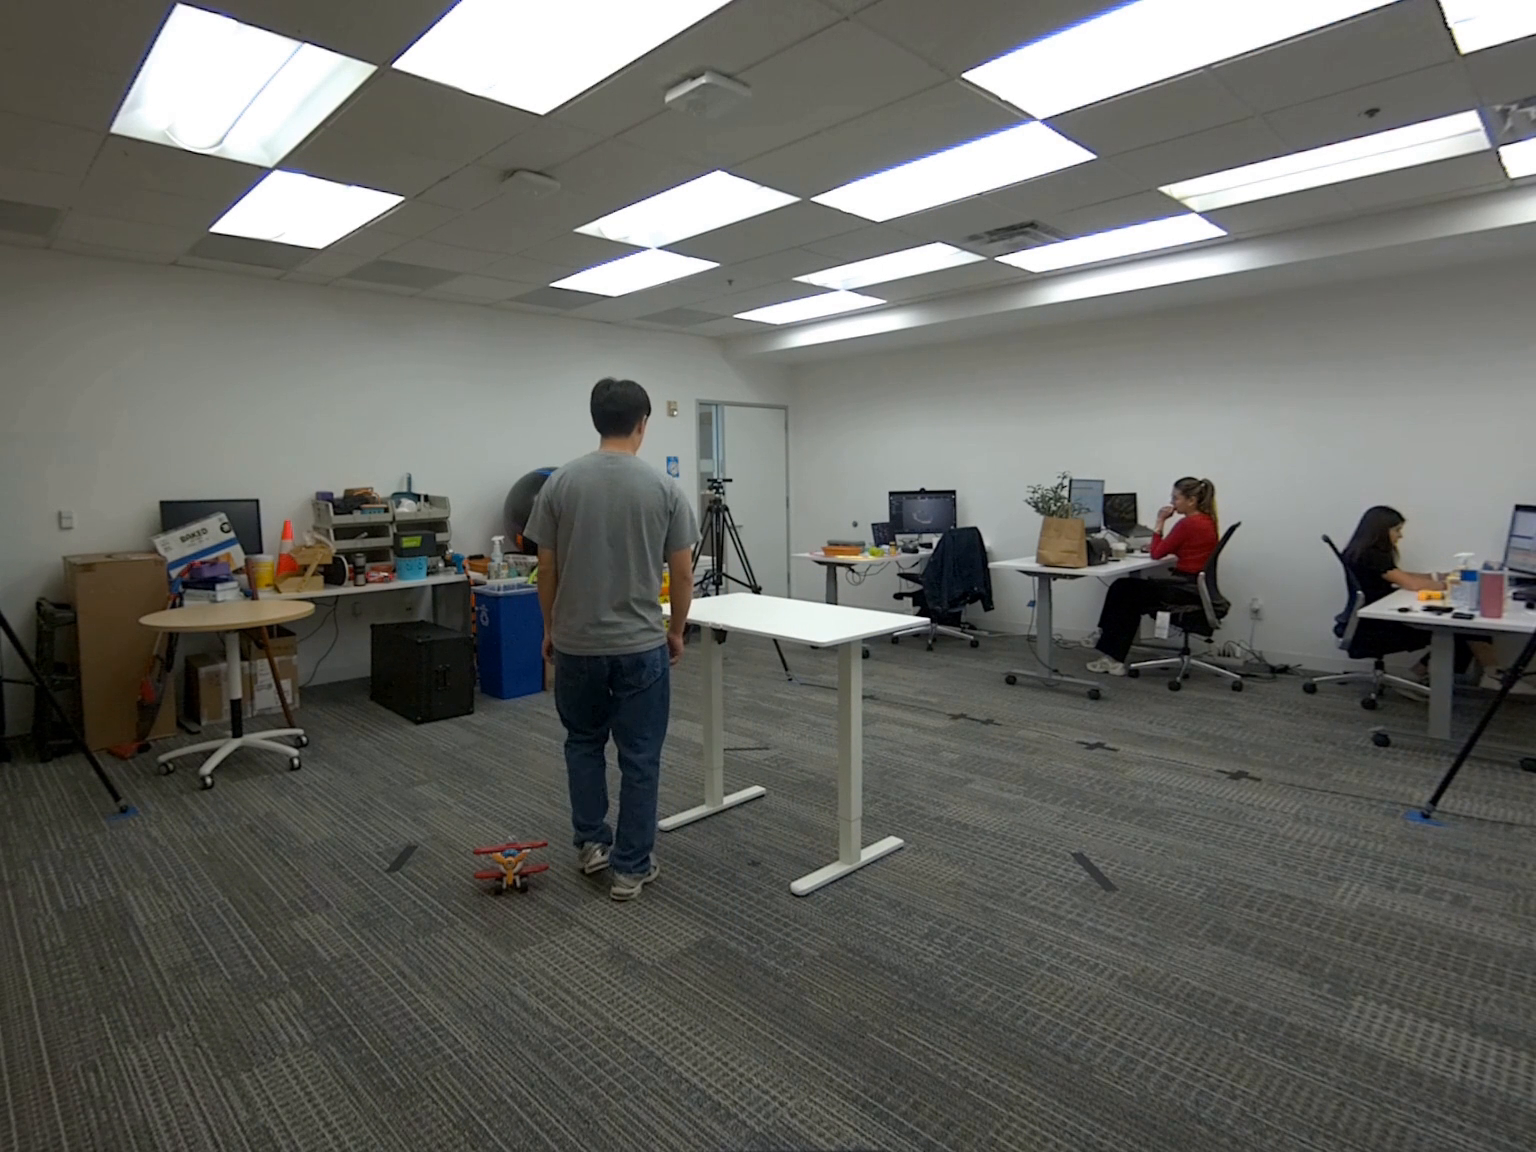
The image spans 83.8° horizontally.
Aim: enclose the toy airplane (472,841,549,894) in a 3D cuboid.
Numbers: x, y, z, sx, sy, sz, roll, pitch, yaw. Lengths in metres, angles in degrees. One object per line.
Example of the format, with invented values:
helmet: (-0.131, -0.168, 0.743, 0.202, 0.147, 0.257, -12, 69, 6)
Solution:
toy airplane: (-0.914, 1.001, 2.997, 0.244, 0.156, 0.267, -6, 8, -41)
